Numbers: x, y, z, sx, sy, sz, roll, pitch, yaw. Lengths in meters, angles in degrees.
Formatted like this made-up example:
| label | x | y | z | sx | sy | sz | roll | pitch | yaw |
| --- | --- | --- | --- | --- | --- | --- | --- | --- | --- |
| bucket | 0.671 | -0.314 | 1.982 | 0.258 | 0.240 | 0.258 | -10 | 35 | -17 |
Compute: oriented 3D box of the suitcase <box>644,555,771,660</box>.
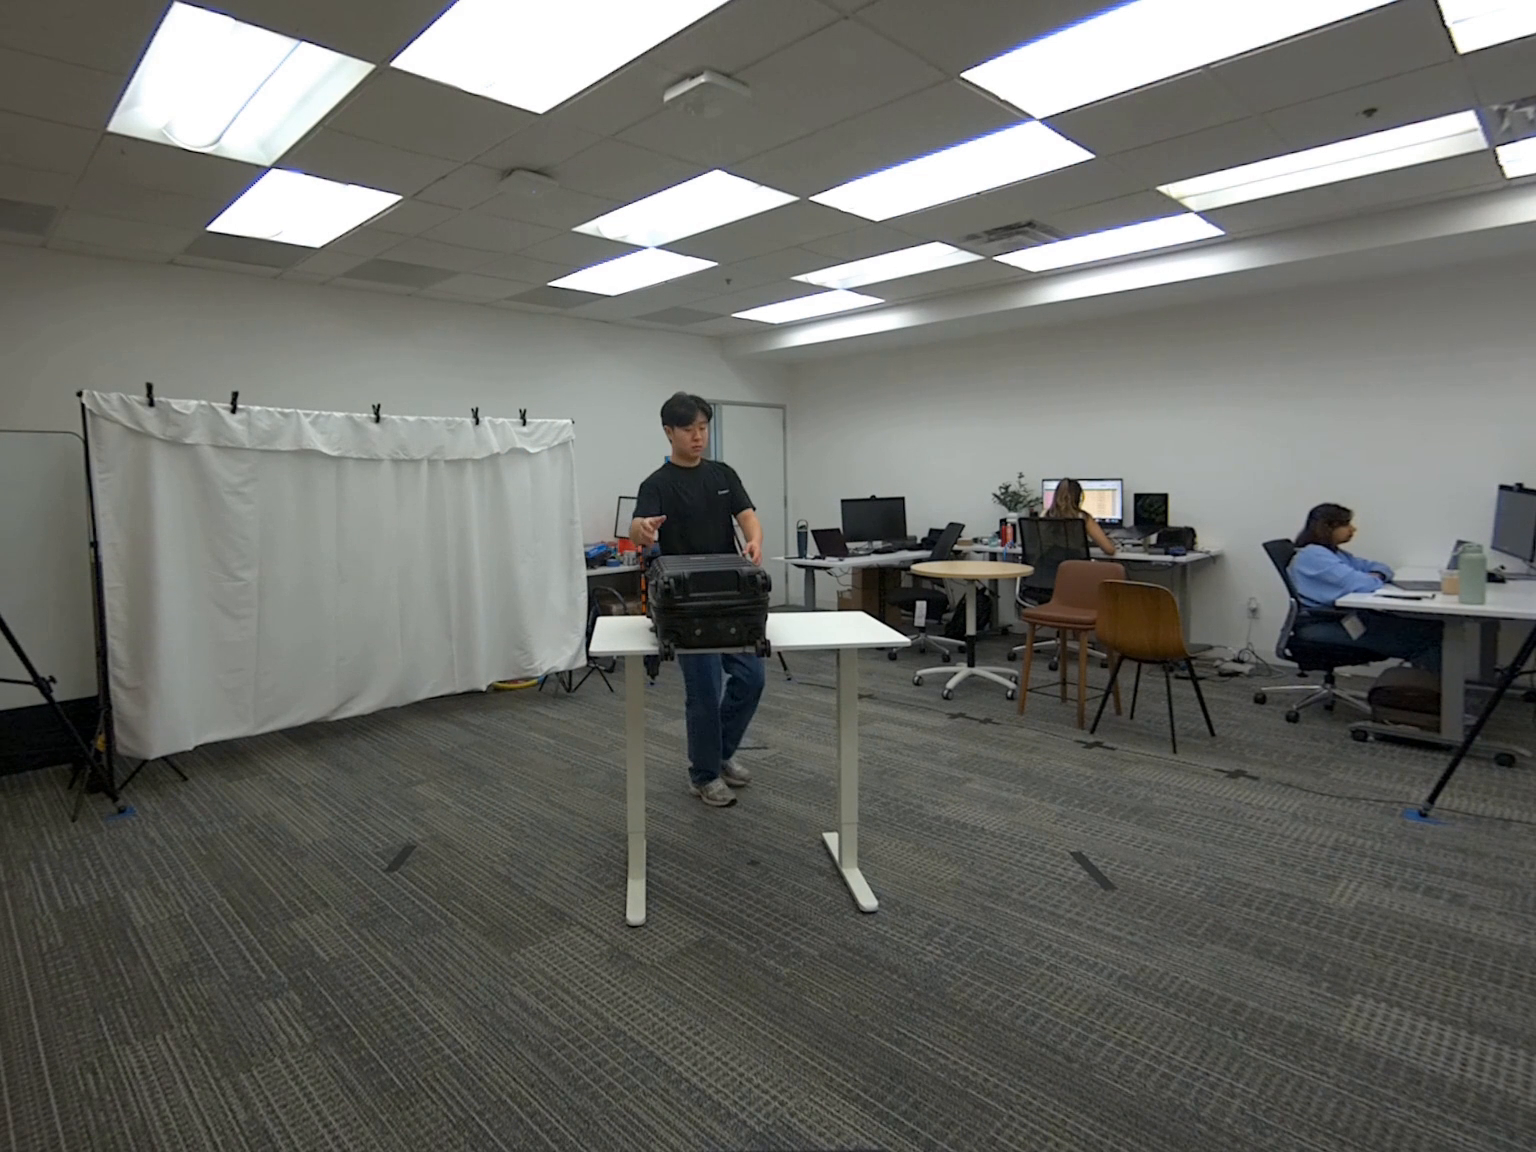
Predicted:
| label | x | y | z | sx | sy | sz | roll | pitch | yaw |
| --- | --- | --- | --- | --- | --- | --- | --- | --- | --- |
| suitcase | -0.245 | 0.051 | 2.996 | 0.380 | 0.255 | 0.995 | -3 | 9 | -11 |
